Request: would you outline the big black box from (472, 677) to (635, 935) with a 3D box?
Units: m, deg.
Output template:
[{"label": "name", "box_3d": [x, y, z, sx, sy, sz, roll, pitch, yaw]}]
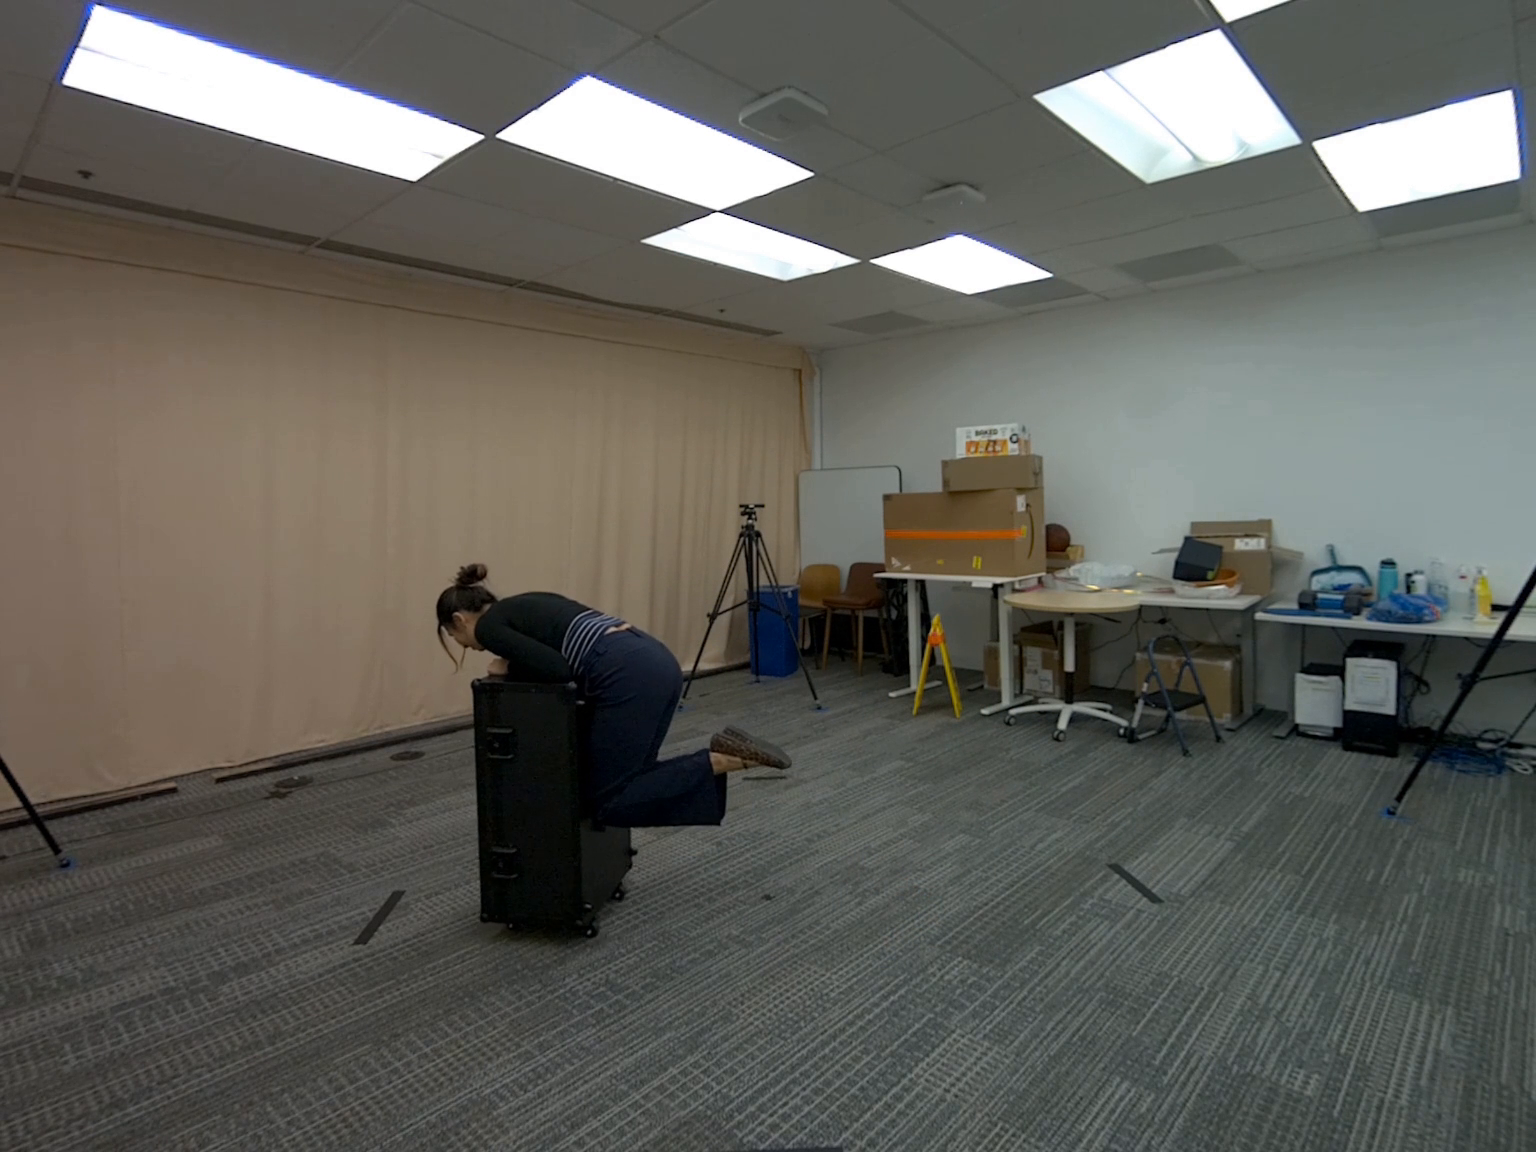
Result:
[{"label": "big black box", "box_3d": [-0.709, 0.743, 2.890, 0.402, 0.860, 0.515, 1, 3, 11]}]
